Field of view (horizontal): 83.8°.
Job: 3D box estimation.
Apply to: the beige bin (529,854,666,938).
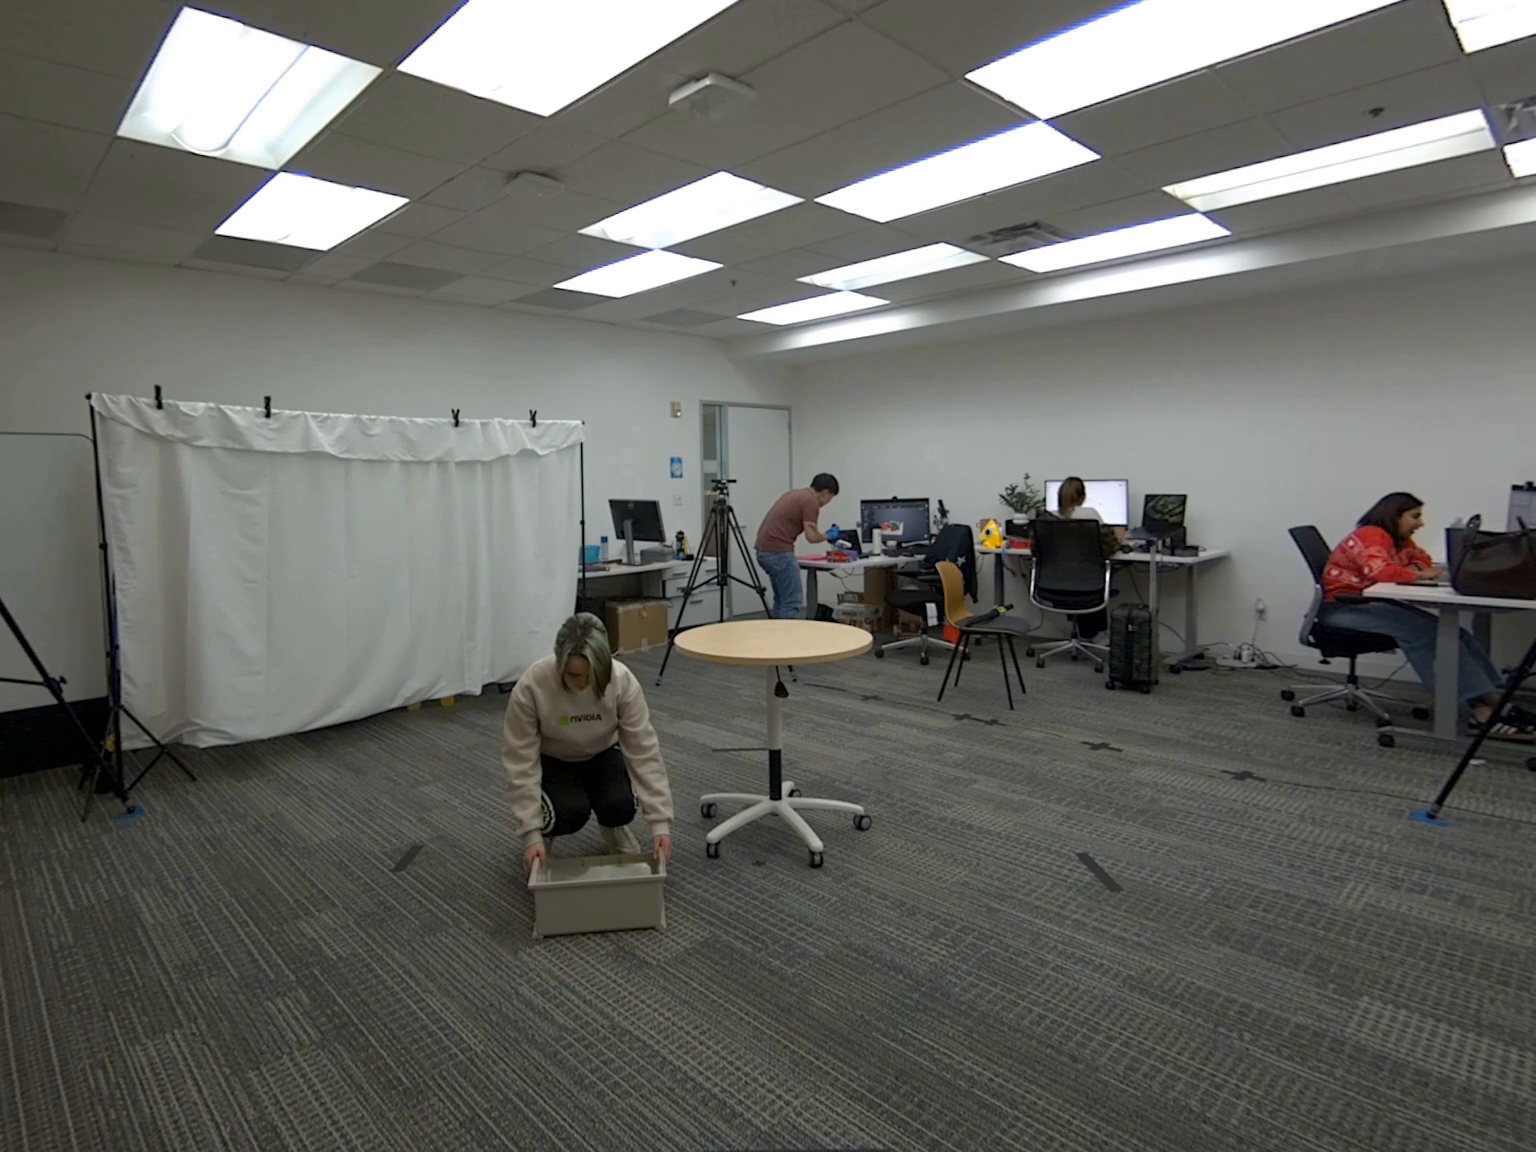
[{"bbox_3d":[-0.554,0.996,2.812,0.419,0.188,0.382,-1,6,-9],"label":"beige bin"}]
